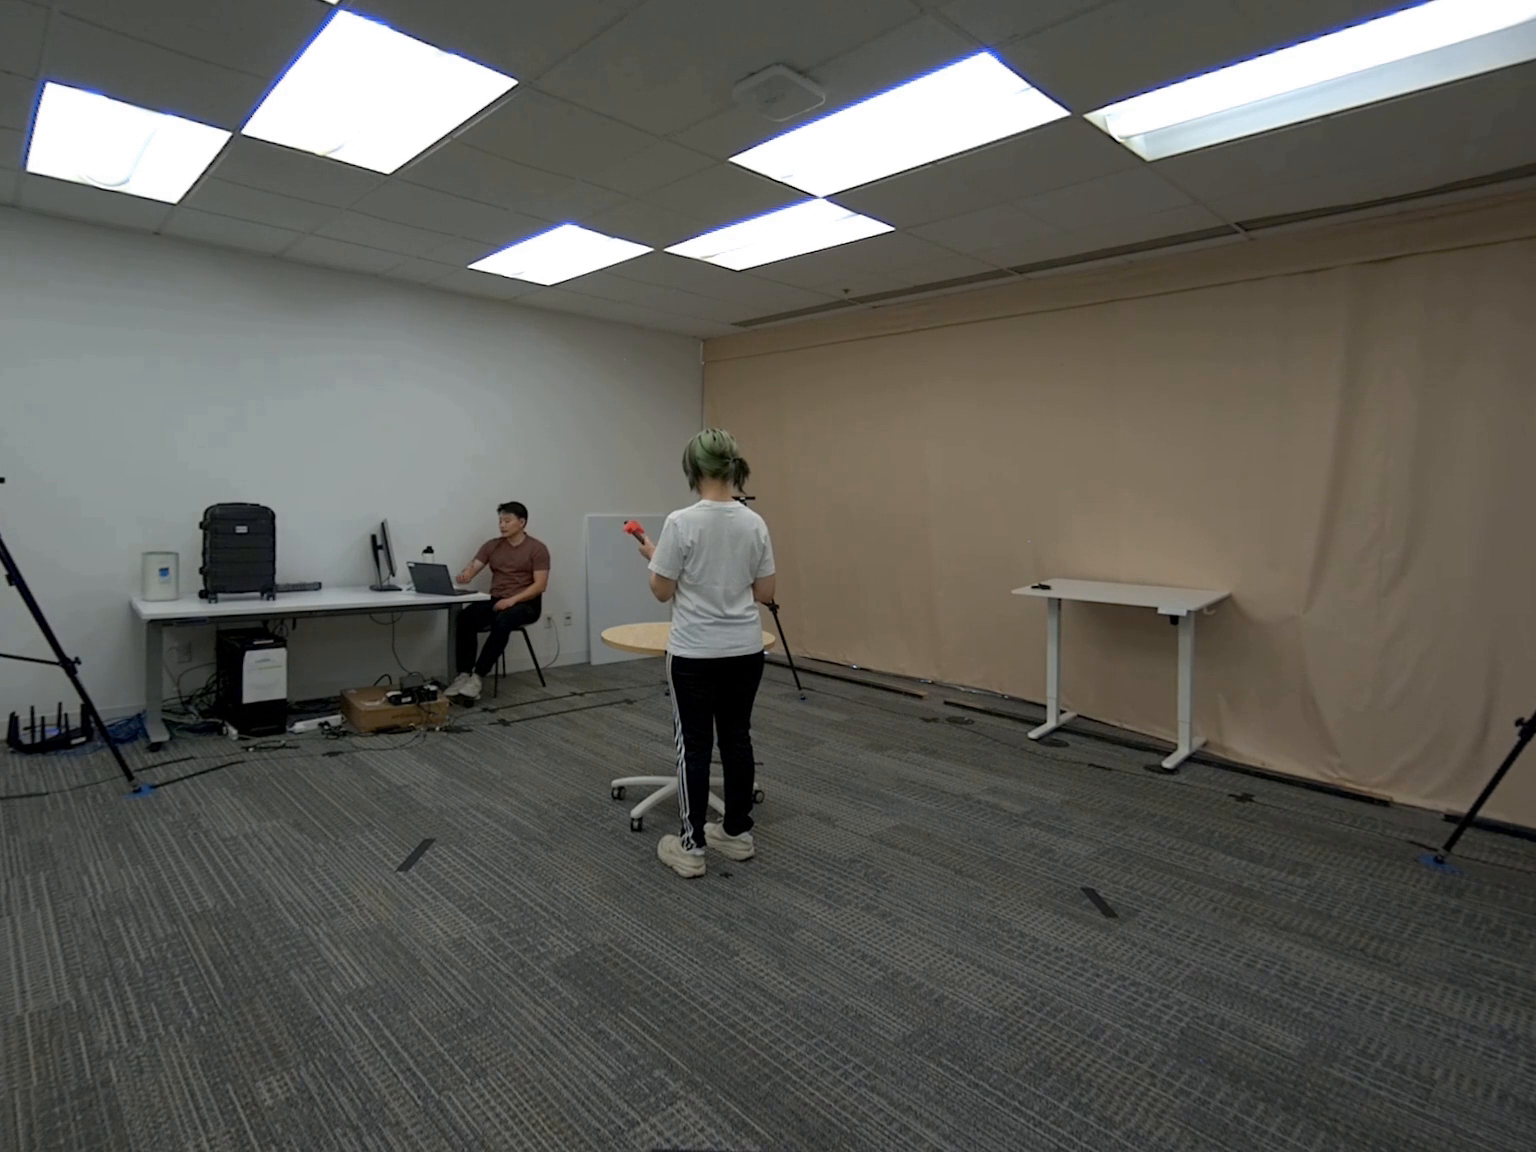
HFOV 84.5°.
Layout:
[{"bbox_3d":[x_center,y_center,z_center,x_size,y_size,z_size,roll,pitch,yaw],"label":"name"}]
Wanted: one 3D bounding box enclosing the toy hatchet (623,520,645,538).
[{"bbox_3d":[-0.471,-0.132,3.375,0.265,0.029,0.133,40,21,-16],"label":"toy hatchet"}]
